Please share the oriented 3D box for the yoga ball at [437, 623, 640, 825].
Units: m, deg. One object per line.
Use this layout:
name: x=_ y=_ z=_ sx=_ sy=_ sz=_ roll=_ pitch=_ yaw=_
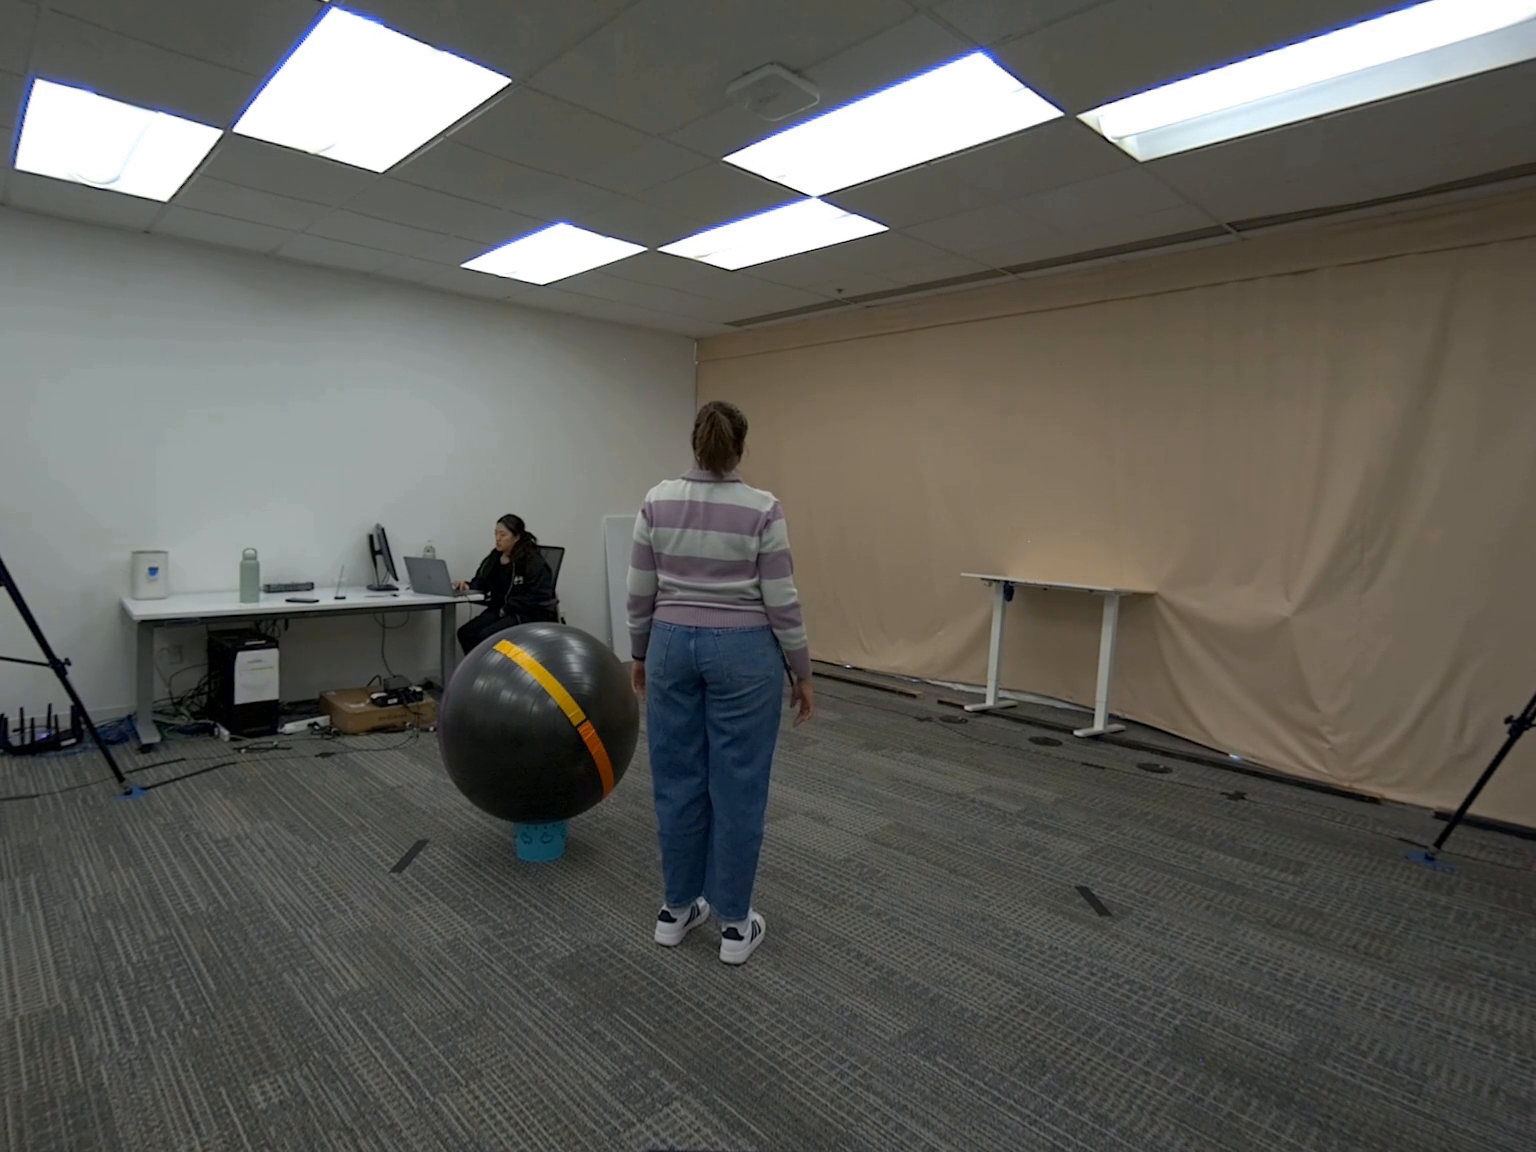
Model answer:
yoga ball: x=-0.884 y=0.564 z=3.243 sx=0.757 sy=0.756 sz=0.761 roll=1 pitch=4 yaw=-1
